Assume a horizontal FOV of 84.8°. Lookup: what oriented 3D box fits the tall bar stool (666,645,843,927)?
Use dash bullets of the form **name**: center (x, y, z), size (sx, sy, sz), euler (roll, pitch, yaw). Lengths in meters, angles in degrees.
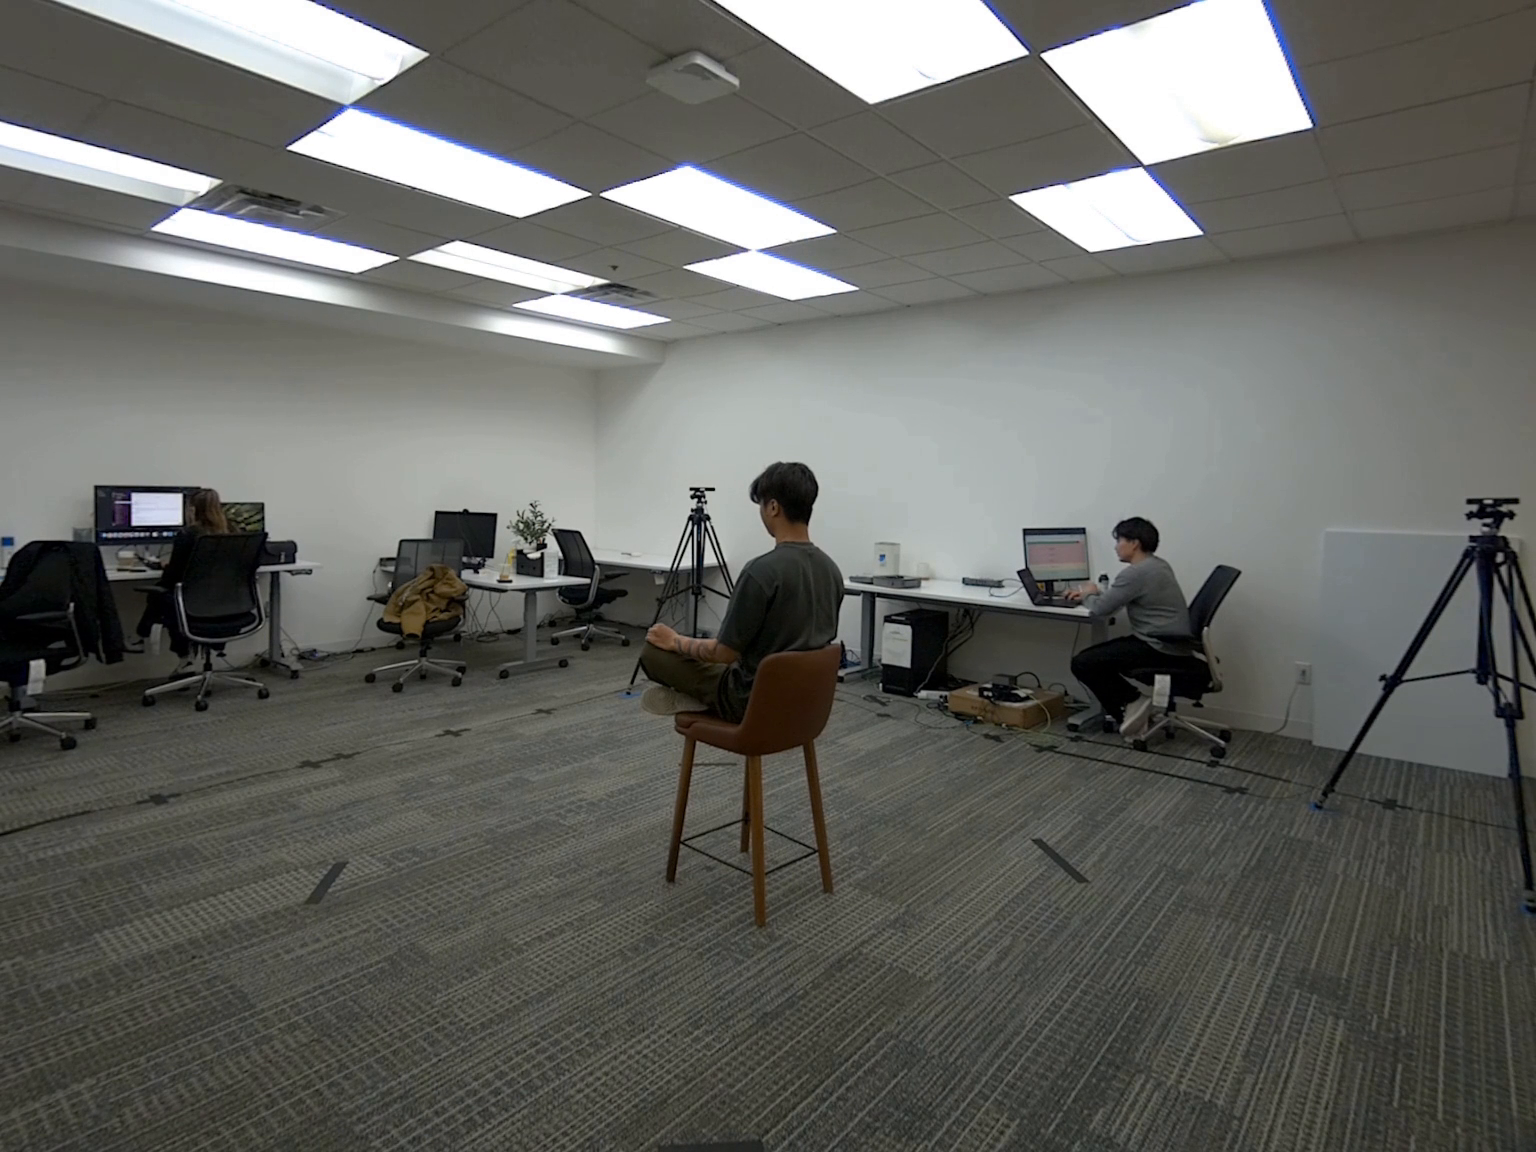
- **tall bar stool**: center (-0.052, 0.650, 2.954), size (0.484, 0.886, 0.442), euler (8, 6, 44)
